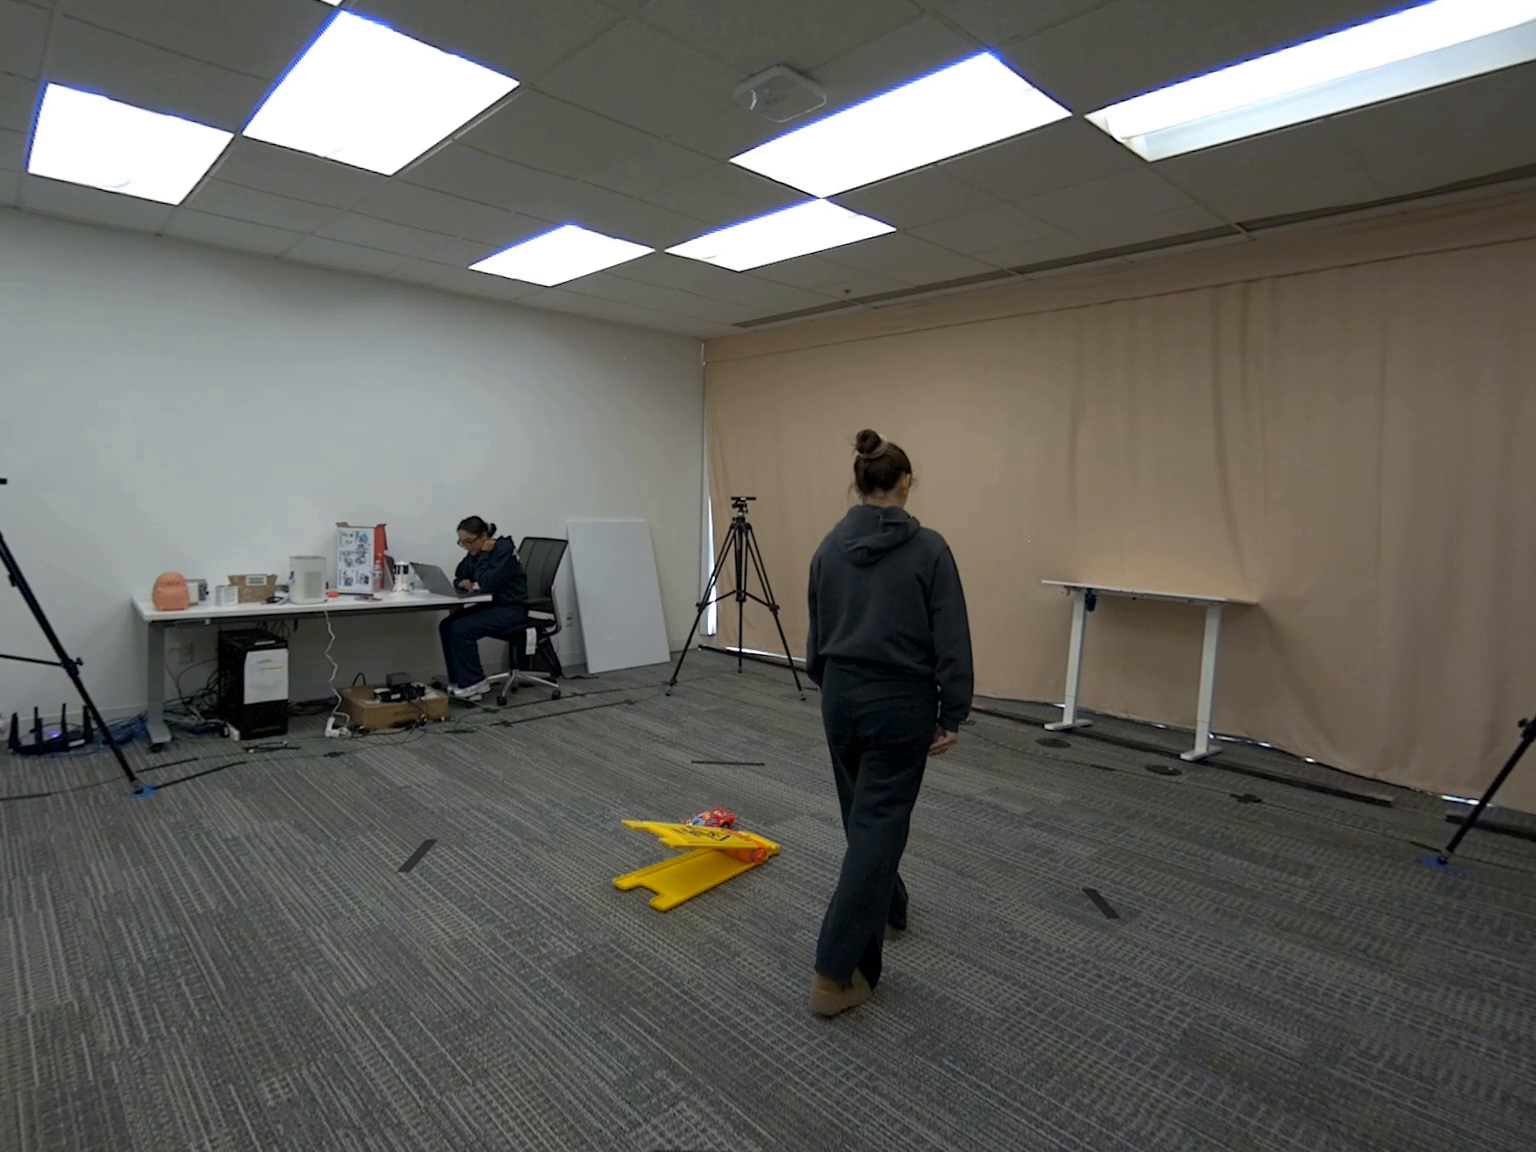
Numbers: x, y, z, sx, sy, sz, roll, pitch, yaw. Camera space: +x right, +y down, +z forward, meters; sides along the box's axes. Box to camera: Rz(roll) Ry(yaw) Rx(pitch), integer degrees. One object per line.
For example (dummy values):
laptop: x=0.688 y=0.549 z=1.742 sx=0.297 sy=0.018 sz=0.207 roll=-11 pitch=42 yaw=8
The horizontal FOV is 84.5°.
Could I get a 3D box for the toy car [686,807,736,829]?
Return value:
toy car: x=-0.261 y=1.034 z=3.519 sx=0.250 sy=0.082 sz=0.133 roll=-17 pitch=15 yaw=-38
